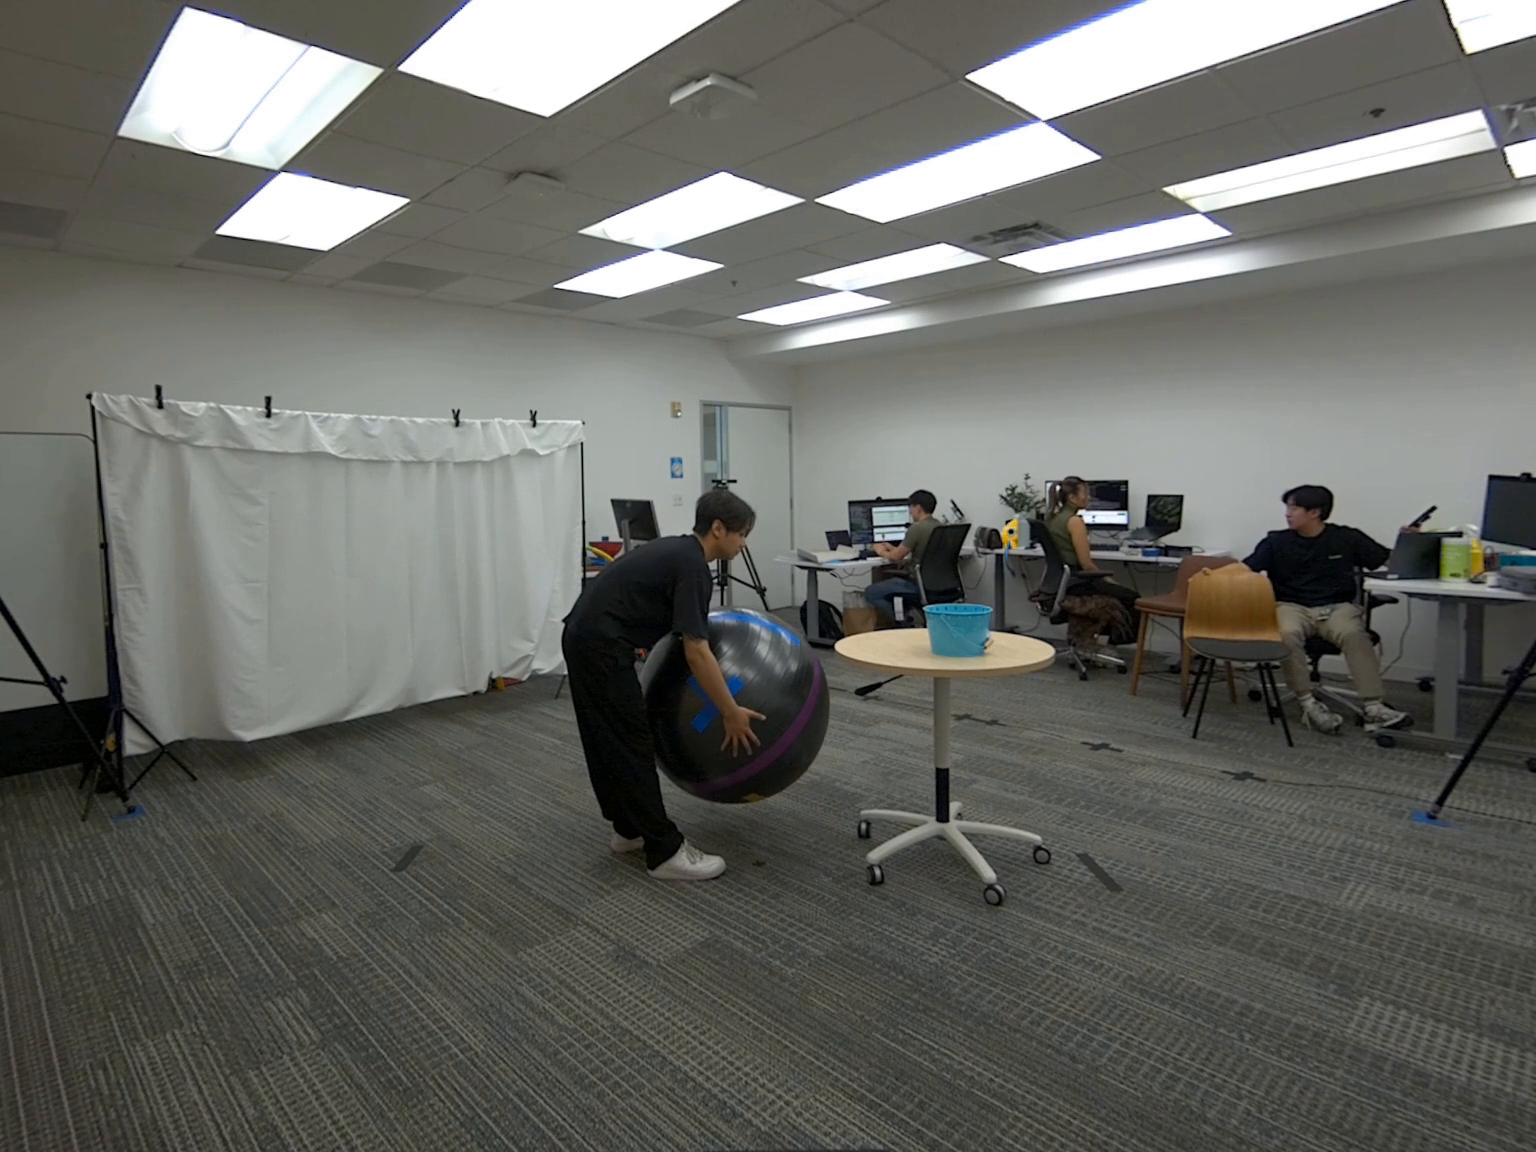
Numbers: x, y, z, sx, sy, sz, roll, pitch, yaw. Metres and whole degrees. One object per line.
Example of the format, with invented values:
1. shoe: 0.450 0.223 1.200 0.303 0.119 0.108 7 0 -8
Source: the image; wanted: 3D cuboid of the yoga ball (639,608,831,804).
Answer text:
1. yoga ball: -0.145 0.508 3.371 0.757 0.755 0.762 -1 5 -2
